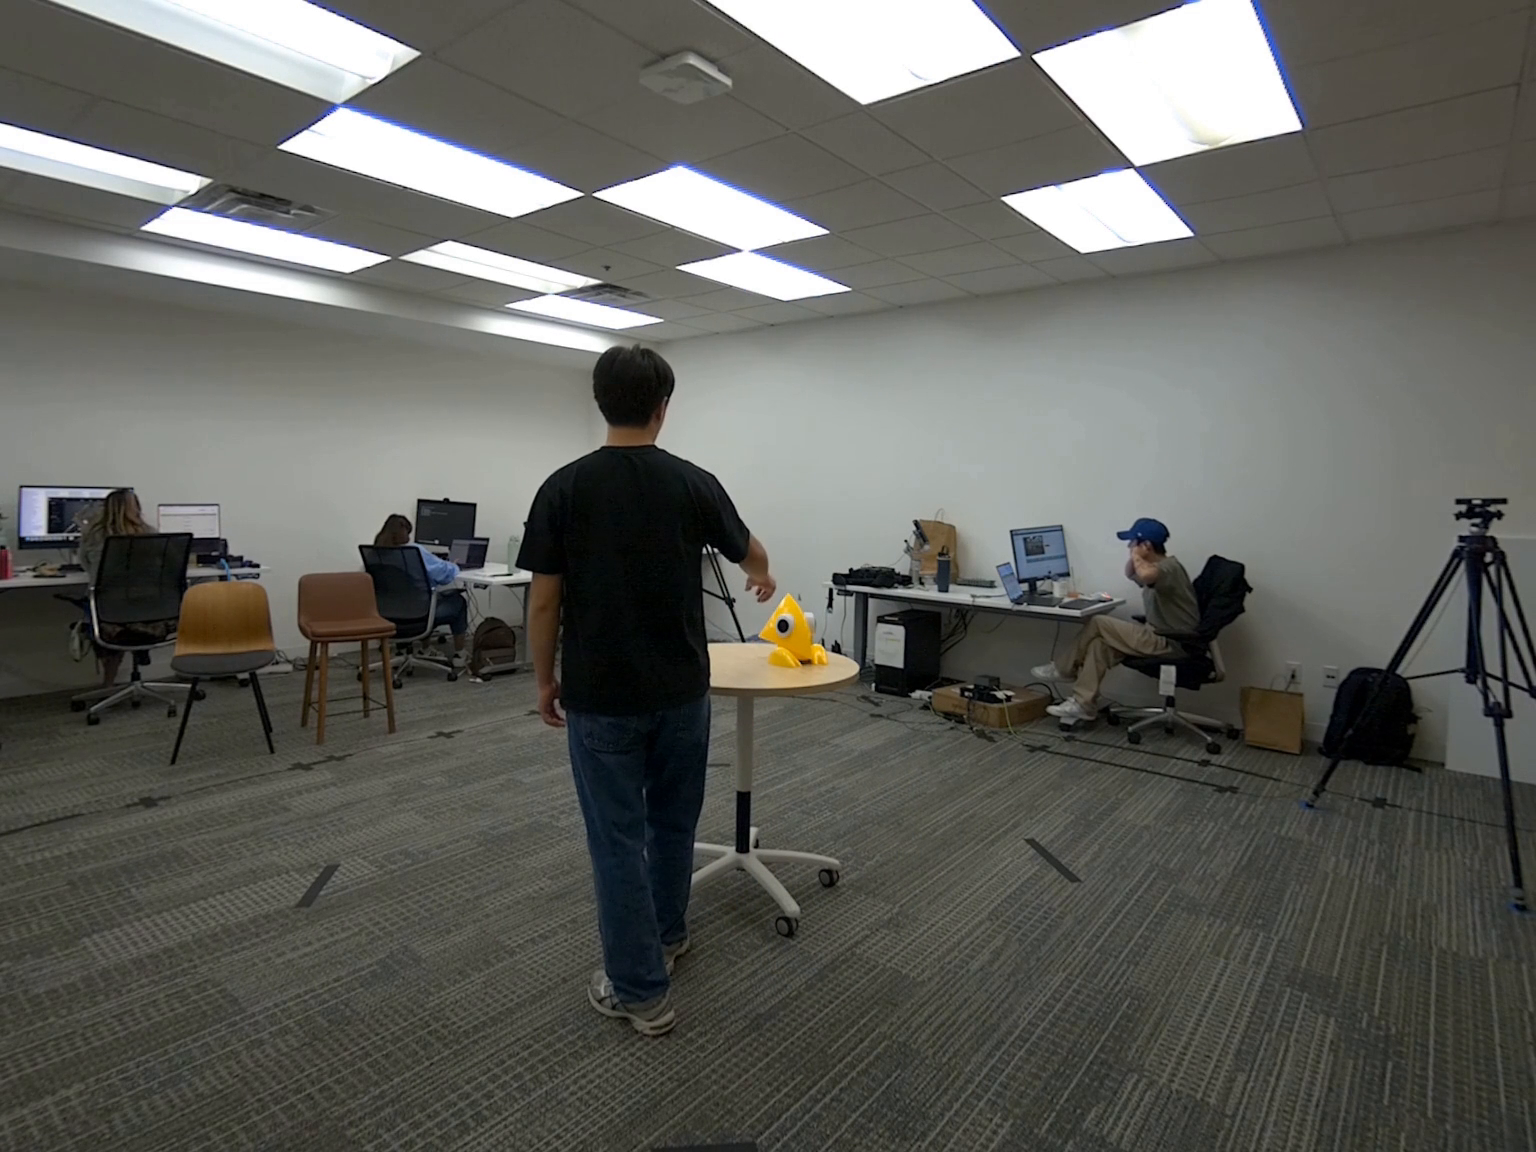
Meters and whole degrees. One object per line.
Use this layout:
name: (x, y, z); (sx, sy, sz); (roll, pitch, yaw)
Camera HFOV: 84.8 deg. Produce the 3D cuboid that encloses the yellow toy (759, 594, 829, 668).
yellow toy: (0.092, 0.178, 2.944); (0.199, 0.230, 0.198); (-1, 4, -29)
